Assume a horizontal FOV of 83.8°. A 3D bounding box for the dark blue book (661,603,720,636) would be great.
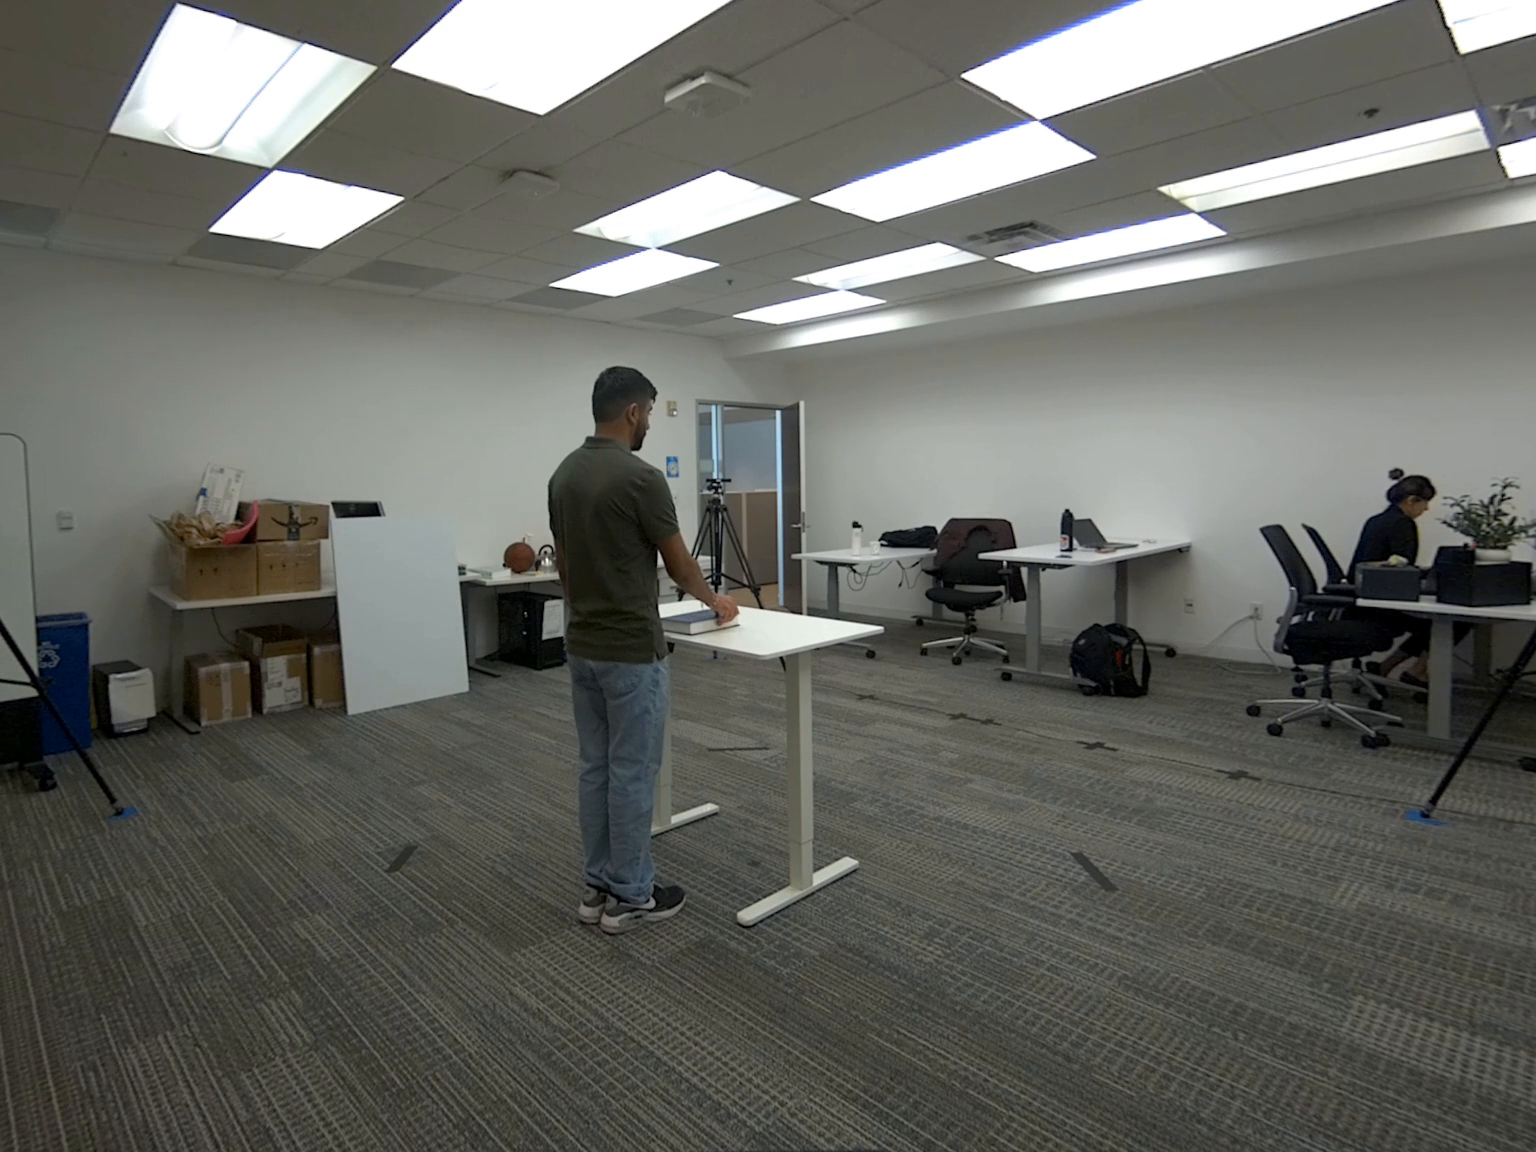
[{"bbox_3d":[-0.250,0.163,2.974,0.168,0.045,0.239,4,8,40],"label":"dark blue book"}]
